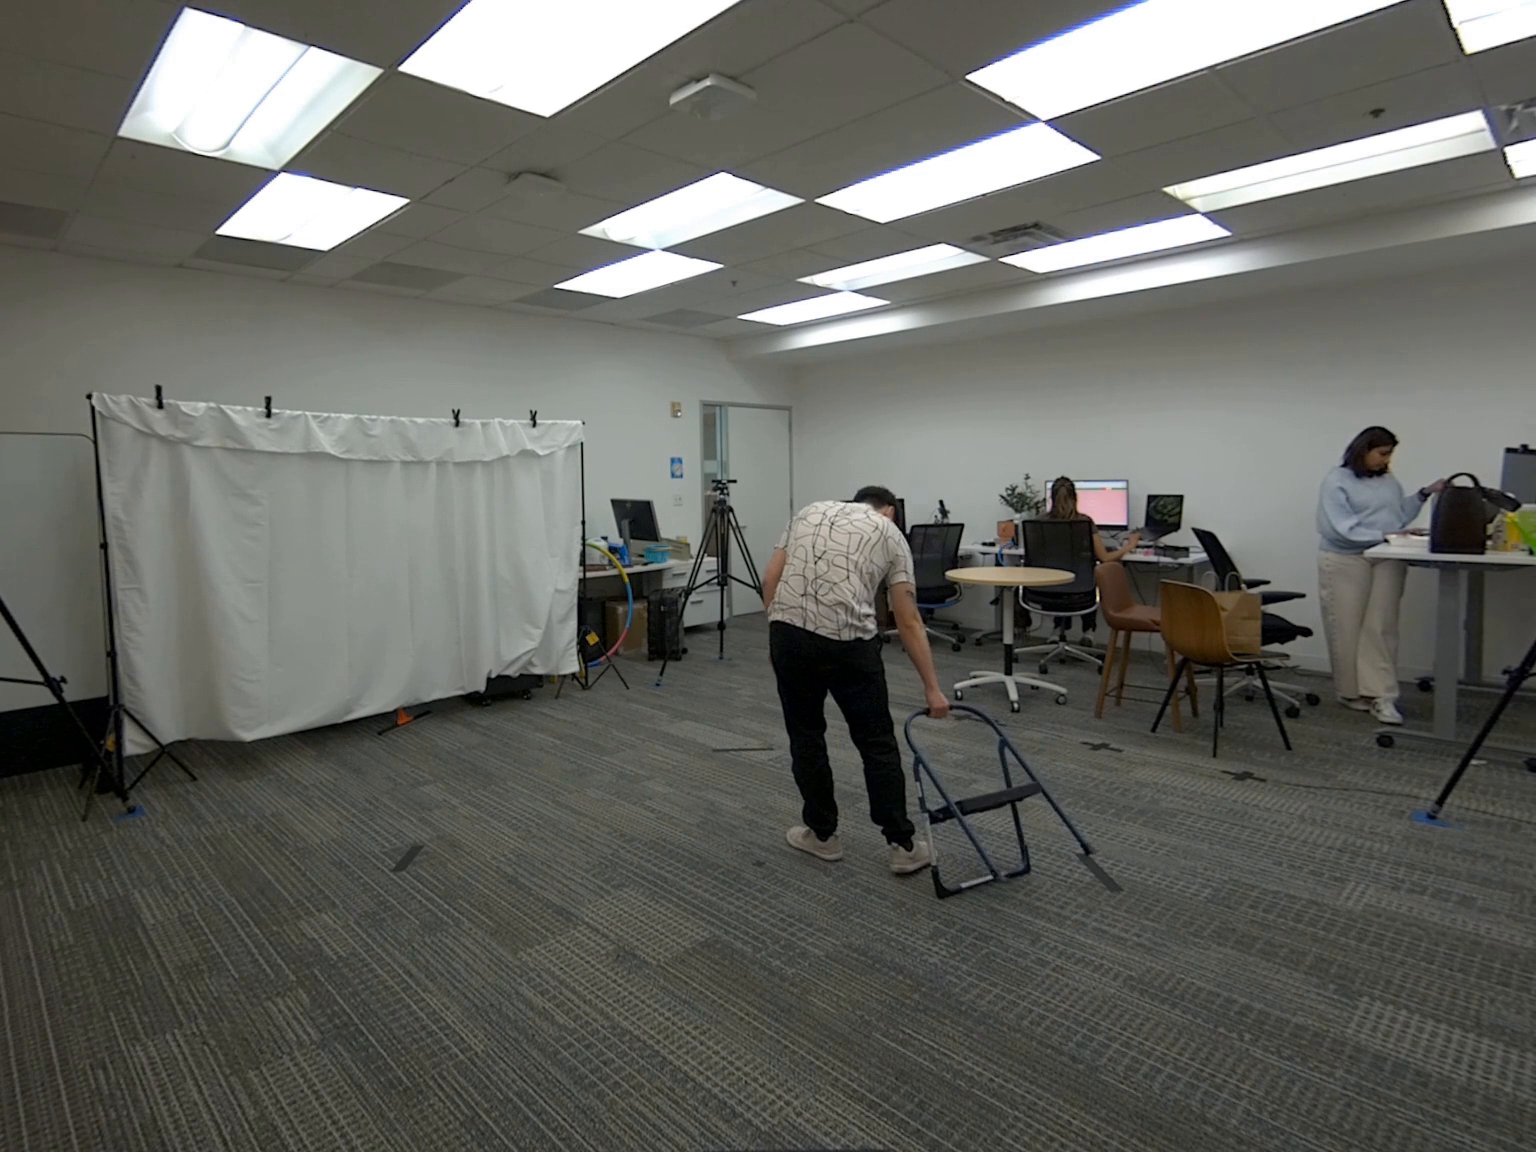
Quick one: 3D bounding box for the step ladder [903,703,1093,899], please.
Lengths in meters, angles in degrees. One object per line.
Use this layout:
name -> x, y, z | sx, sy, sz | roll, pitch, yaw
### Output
step ladder -> 0.736, 0.718, 2.910 | 0.421, 0.622, 0.348 | -3, -28, -28
